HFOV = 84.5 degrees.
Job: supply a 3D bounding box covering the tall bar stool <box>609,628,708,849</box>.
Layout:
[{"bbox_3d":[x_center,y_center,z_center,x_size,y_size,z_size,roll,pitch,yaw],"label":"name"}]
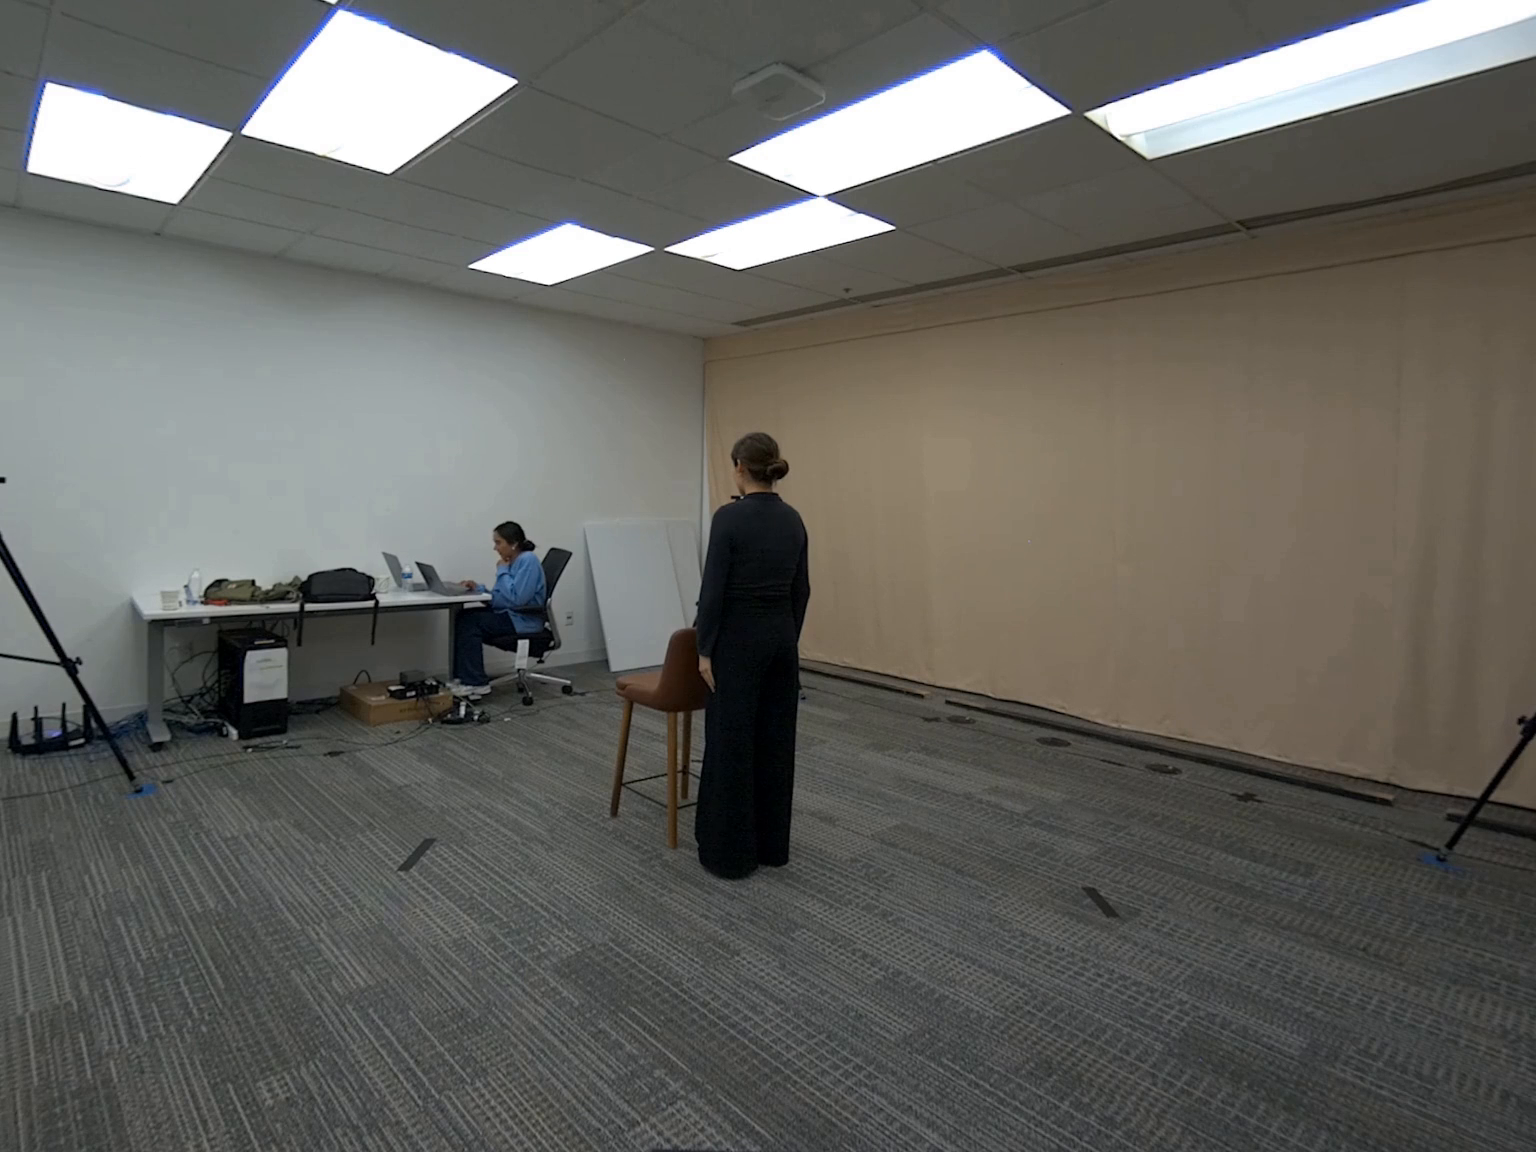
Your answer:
[{"bbox_3d":[-0.376,0.615,3.576,0.446,0.886,0.480,-2,7,-40],"label":"tall bar stool"}]
